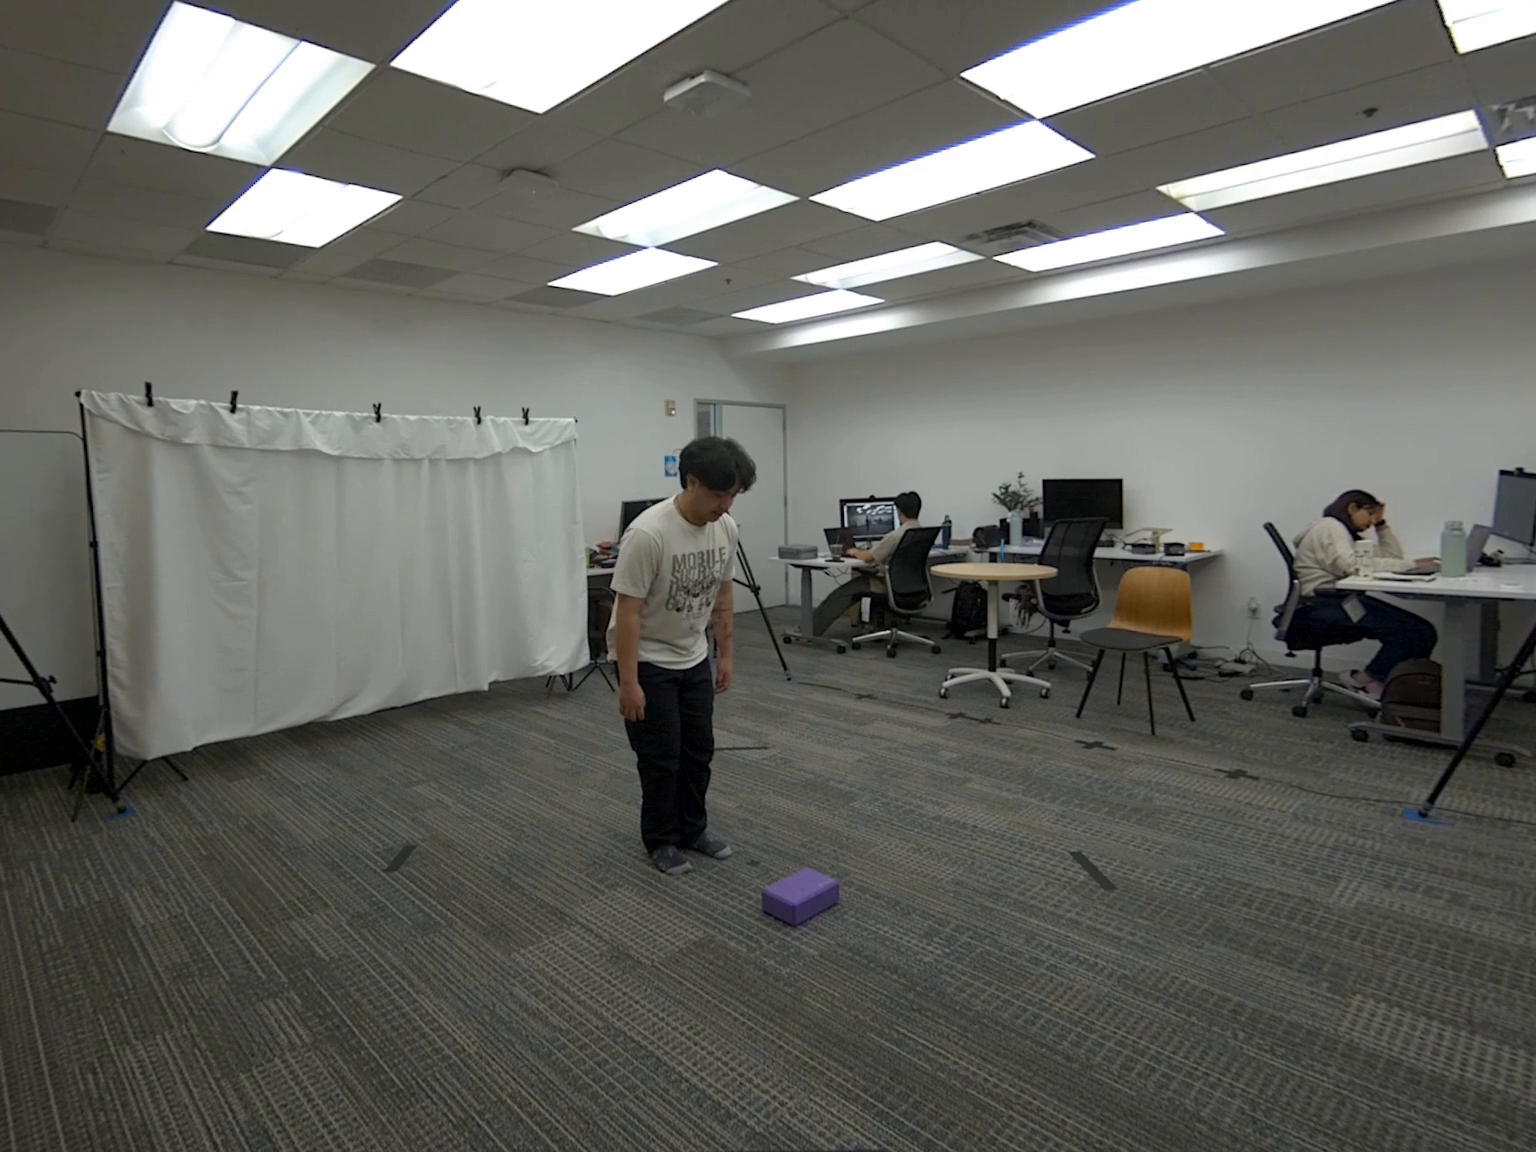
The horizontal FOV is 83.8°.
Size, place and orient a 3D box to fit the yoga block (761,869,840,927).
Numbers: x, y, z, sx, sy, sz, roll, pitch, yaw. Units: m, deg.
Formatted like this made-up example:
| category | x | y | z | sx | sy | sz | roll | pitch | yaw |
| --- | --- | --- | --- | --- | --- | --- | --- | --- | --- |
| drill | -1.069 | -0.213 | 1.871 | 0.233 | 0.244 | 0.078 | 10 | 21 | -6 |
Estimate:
| category | x | y | z | sx | sy | sz | roll | pitch | yaw |
| --- | --- | --- | --- | --- | --- | --- | --- | --- | --- |
| yoga block | 0.110 | 1.040 | 2.775 | 0.153 | 0.076 | 0.223 | 5 | 9 | 44 |
